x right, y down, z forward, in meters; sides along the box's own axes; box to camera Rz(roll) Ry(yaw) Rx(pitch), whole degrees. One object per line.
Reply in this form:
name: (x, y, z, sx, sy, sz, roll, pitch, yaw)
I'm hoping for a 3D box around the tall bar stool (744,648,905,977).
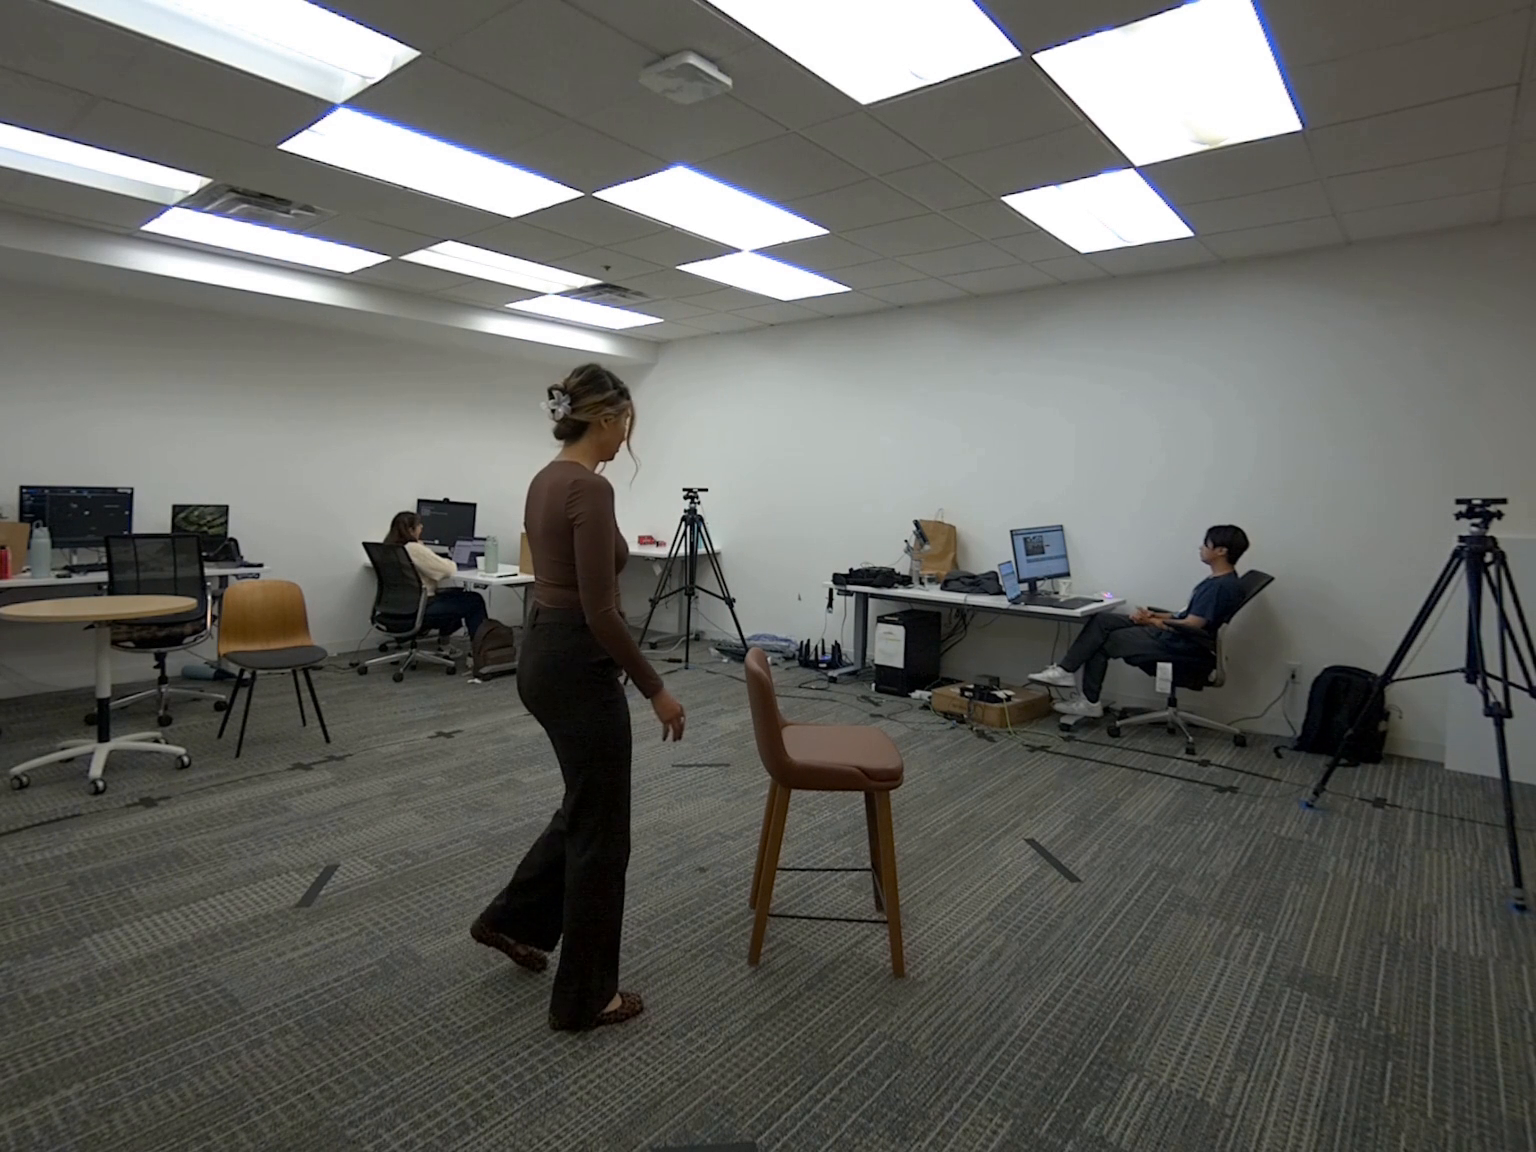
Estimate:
tall bar stool: (0.161, 0.687, 2.628, 0.470, 0.888, 0.456, 0, 3, 3)
